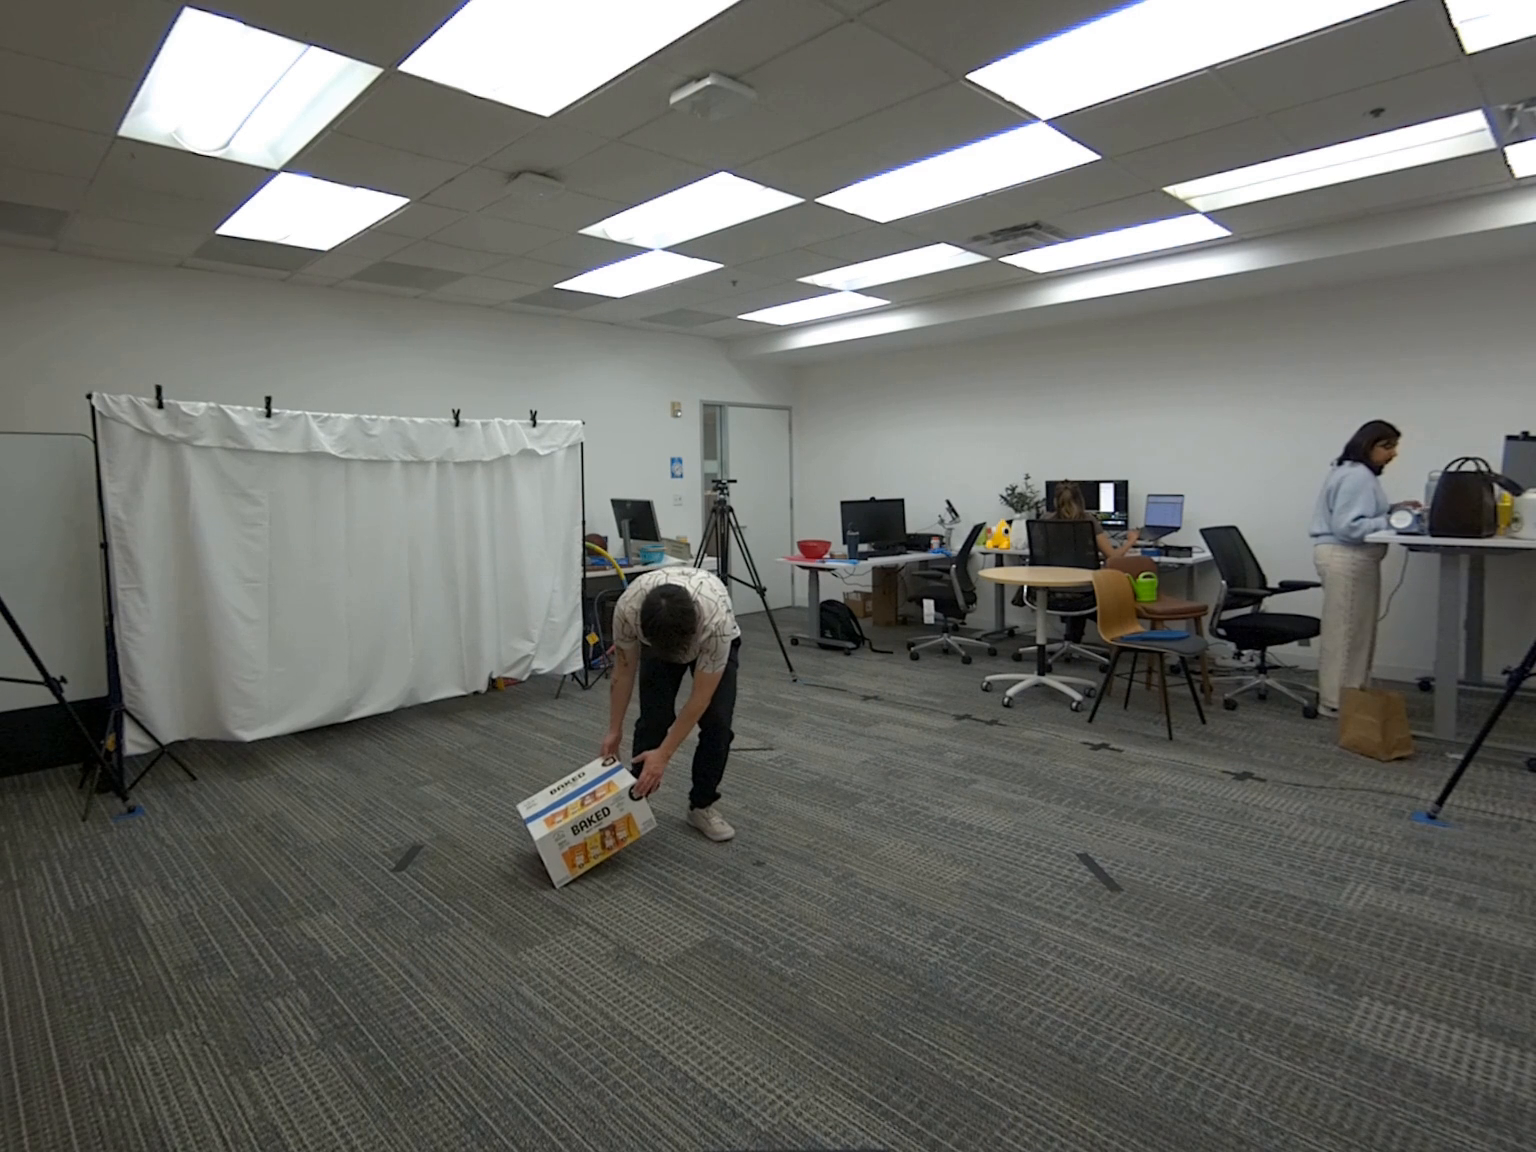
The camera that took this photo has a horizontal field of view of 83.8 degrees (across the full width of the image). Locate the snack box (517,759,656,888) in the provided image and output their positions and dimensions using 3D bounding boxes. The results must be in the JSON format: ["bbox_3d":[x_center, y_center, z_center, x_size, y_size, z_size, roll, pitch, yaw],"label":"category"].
[{"bbox_3d":[-0.677,0.885,3.148,0.401,0.202,0.349,-28,17,-21],"label":"snack box"}]
